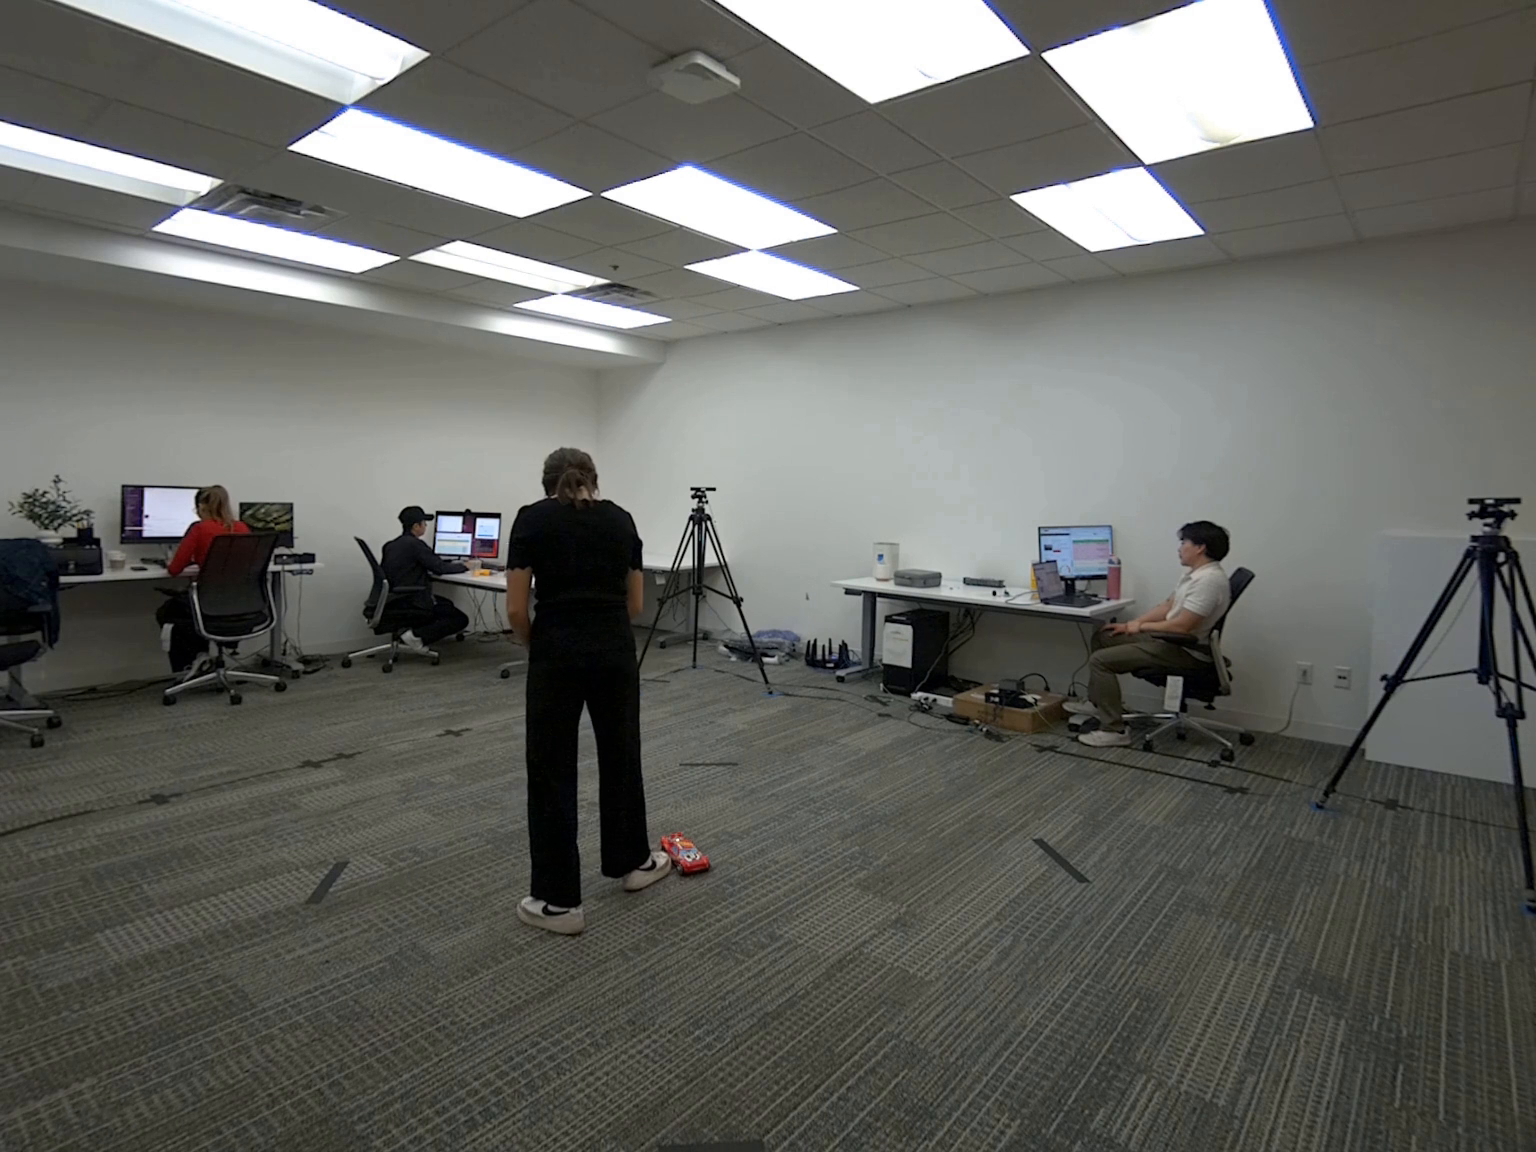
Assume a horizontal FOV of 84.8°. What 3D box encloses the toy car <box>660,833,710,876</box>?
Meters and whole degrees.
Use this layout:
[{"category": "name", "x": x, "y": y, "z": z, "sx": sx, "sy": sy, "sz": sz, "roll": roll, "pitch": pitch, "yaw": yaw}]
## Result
[{"category": "toy car", "x": -0.330, "y": 1.025, "z": 3.152, "sx": 0.127, "sy": 0.082, "sz": 0.264, "roll": -2, "pitch": 16, "yaw": -28}]
